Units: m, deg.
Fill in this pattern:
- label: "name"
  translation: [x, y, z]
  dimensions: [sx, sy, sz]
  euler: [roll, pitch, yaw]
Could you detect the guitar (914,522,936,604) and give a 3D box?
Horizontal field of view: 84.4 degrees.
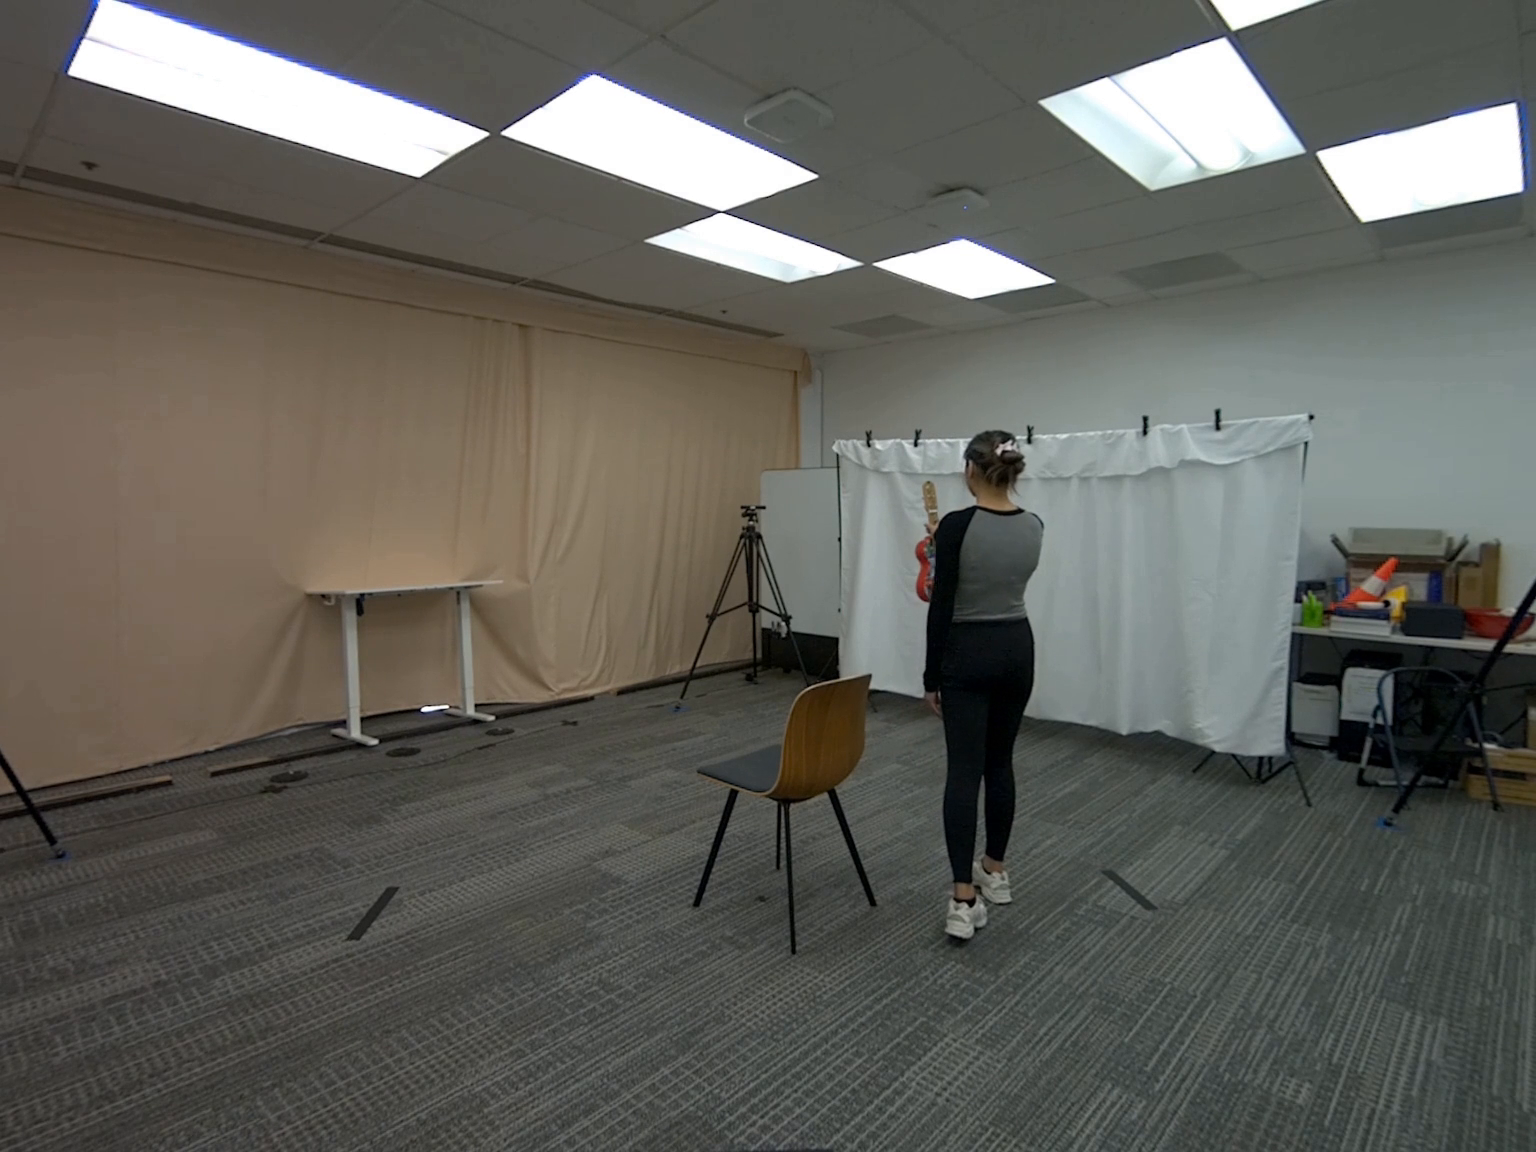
- label: "guitar"
  translation: [0.722, -0.137, 3.485]
  dimensions: [0.189, 0.500, 0.071]
  euler: [5, -9, -16]
